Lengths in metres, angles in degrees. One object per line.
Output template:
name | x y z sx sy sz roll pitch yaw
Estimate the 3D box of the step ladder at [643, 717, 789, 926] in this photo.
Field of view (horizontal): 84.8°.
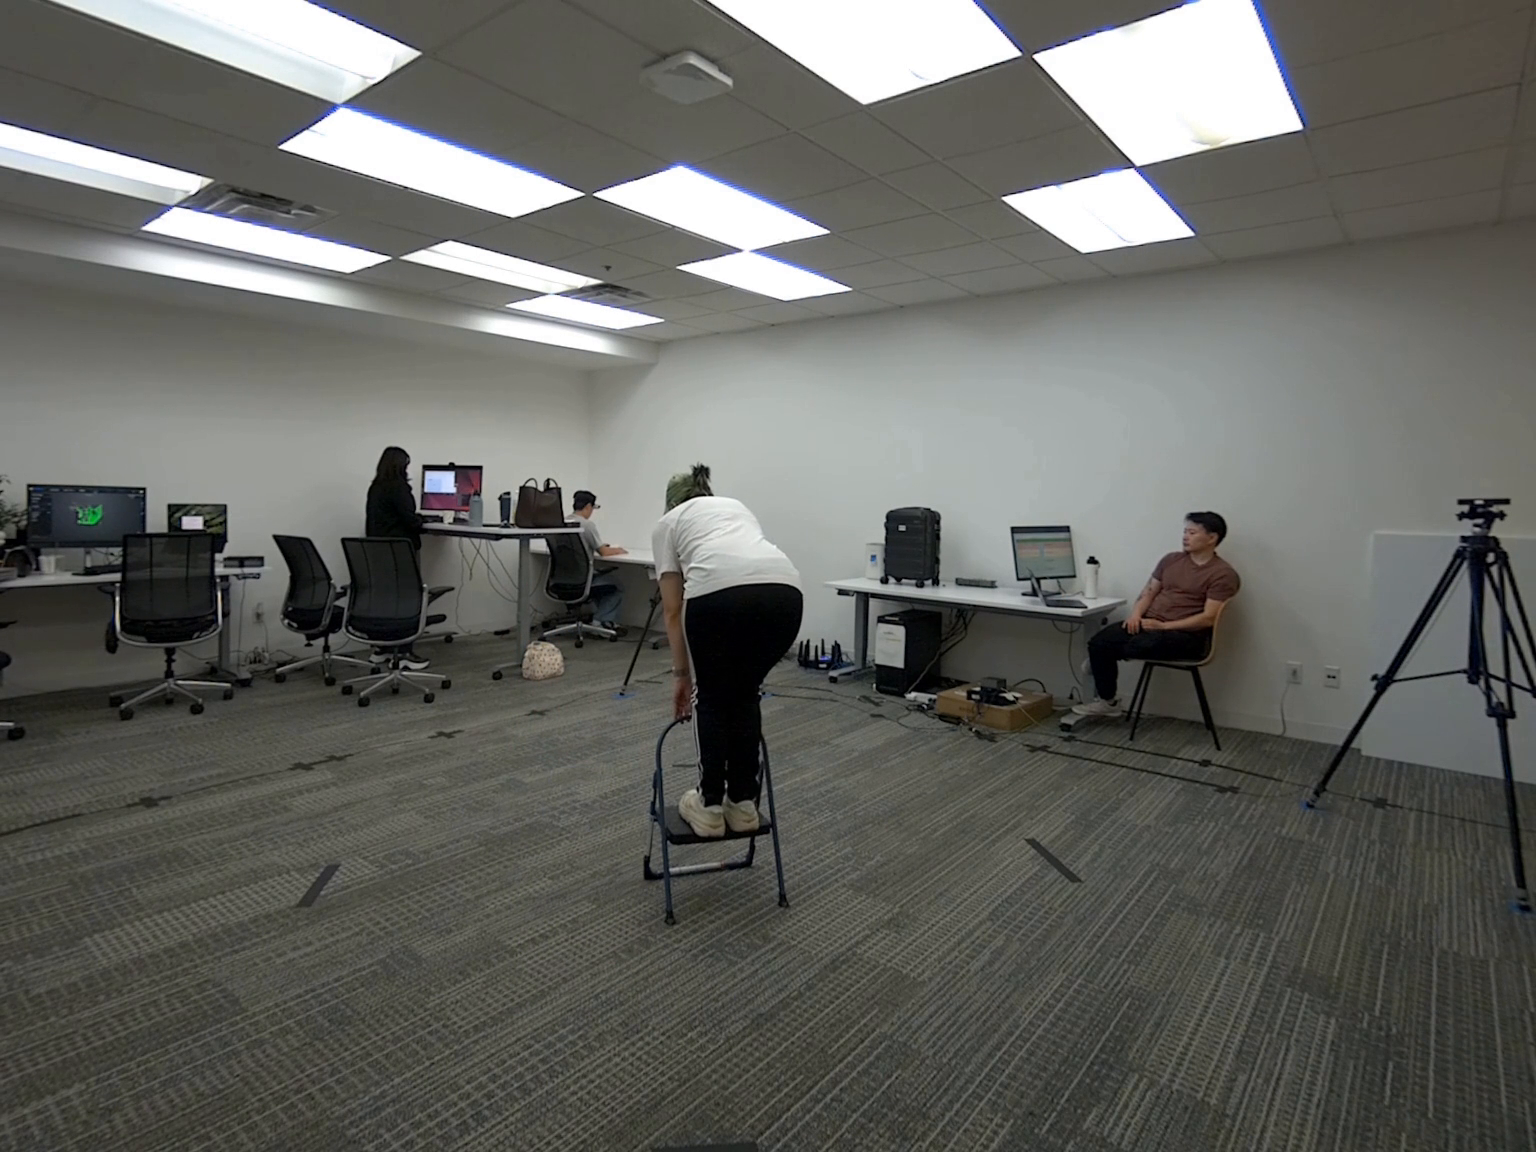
step ladder | -0.193 0.790 2.923 0.422 0.604 0.358 0 3 -21
